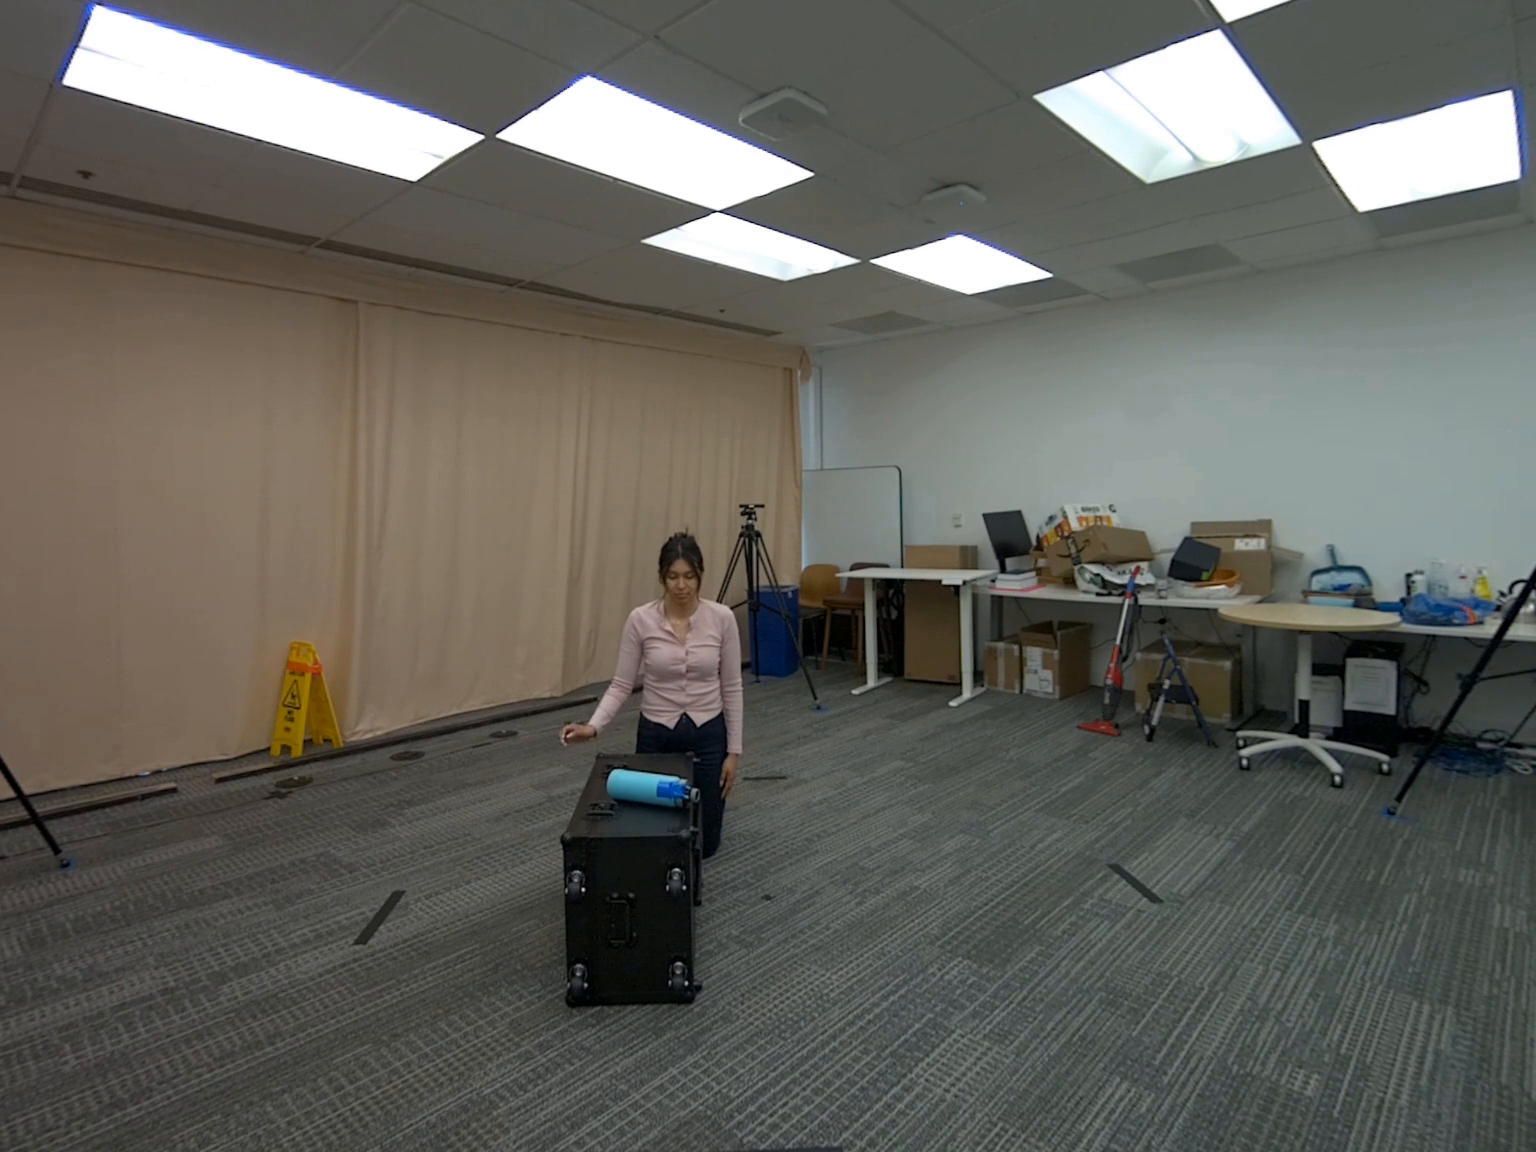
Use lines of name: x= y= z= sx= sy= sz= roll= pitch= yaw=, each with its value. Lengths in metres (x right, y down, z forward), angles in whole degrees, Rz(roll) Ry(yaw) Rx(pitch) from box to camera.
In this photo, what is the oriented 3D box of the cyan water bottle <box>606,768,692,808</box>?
cyan water bottle: x=-0.349 y=0.648 z=2.582 sx=0.290 sy=0.092 sz=0.090 roll=1 pitch=4 yaw=24
